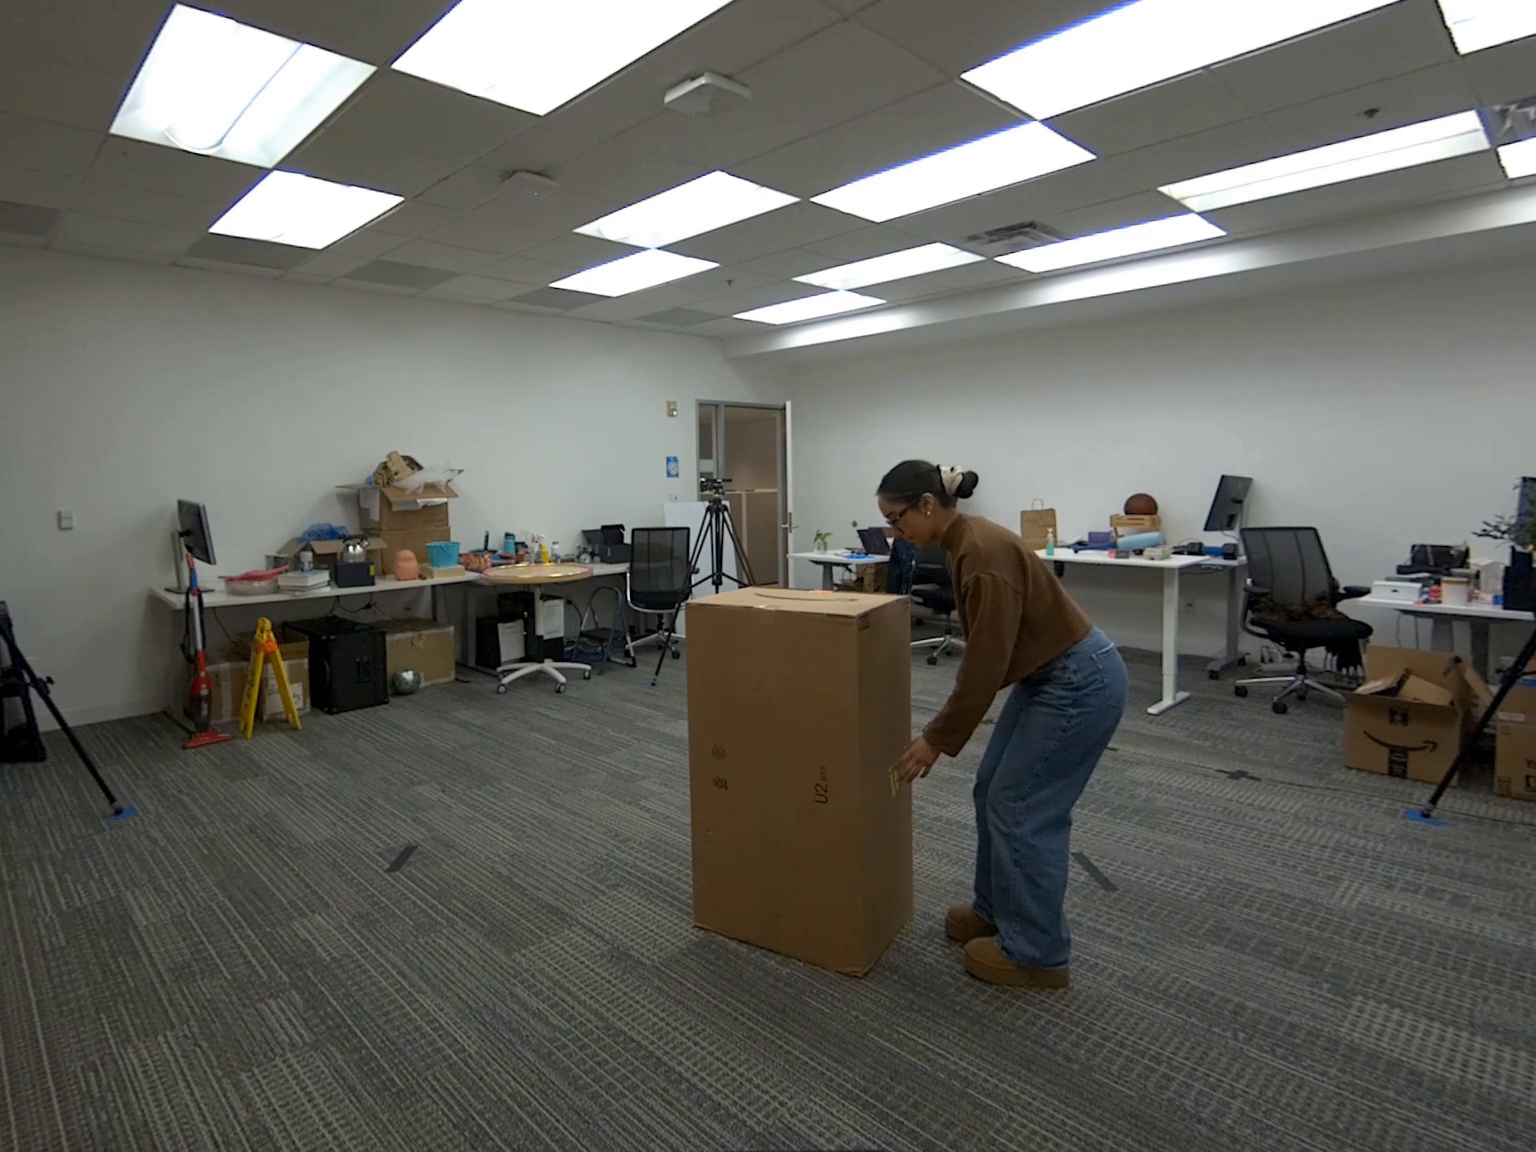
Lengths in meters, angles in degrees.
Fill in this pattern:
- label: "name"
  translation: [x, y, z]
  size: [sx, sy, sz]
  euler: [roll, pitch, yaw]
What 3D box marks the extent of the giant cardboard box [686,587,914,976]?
- label: "giant cardboard box"
  translation: [0.108, 0.583, 2.677]
  size: [0.593, 1.023, 0.416]
  euler: [1, 4, 31]
